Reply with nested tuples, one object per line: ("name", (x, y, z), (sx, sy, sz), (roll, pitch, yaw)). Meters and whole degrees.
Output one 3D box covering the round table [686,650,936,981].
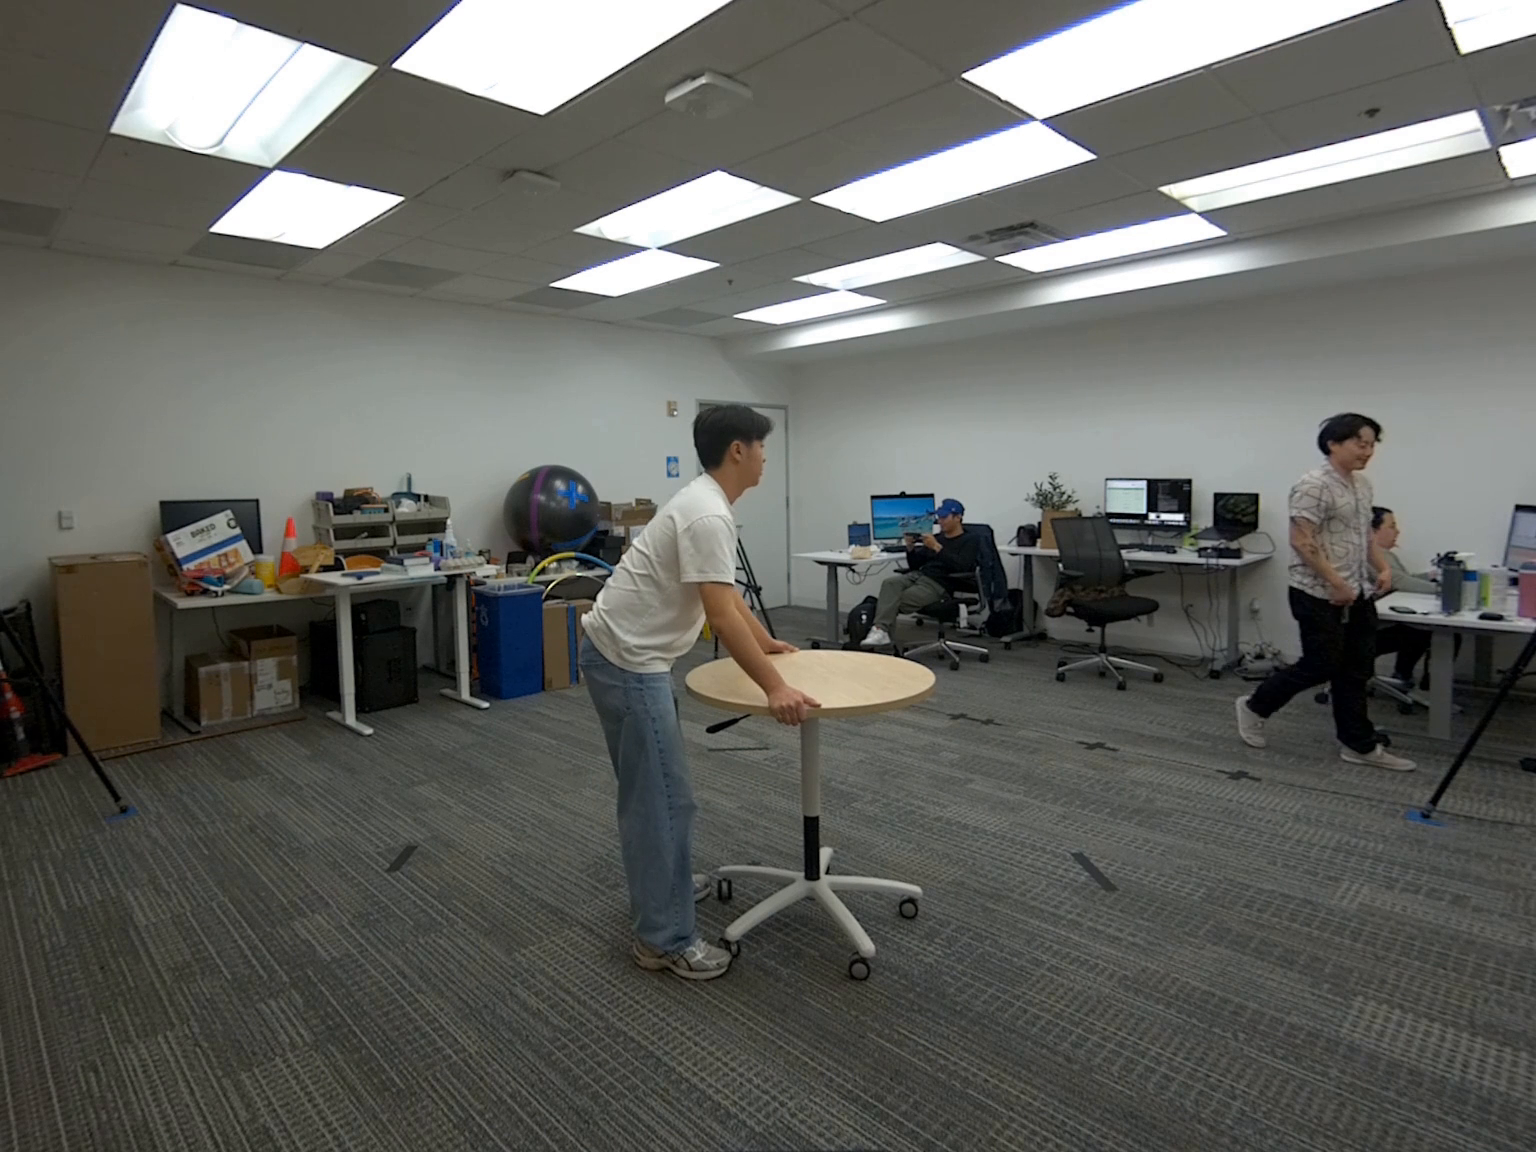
("round table", (0.141, 0.689, 2.689), (0.784, 0.783, 0.789), (-1, 5, -2))
